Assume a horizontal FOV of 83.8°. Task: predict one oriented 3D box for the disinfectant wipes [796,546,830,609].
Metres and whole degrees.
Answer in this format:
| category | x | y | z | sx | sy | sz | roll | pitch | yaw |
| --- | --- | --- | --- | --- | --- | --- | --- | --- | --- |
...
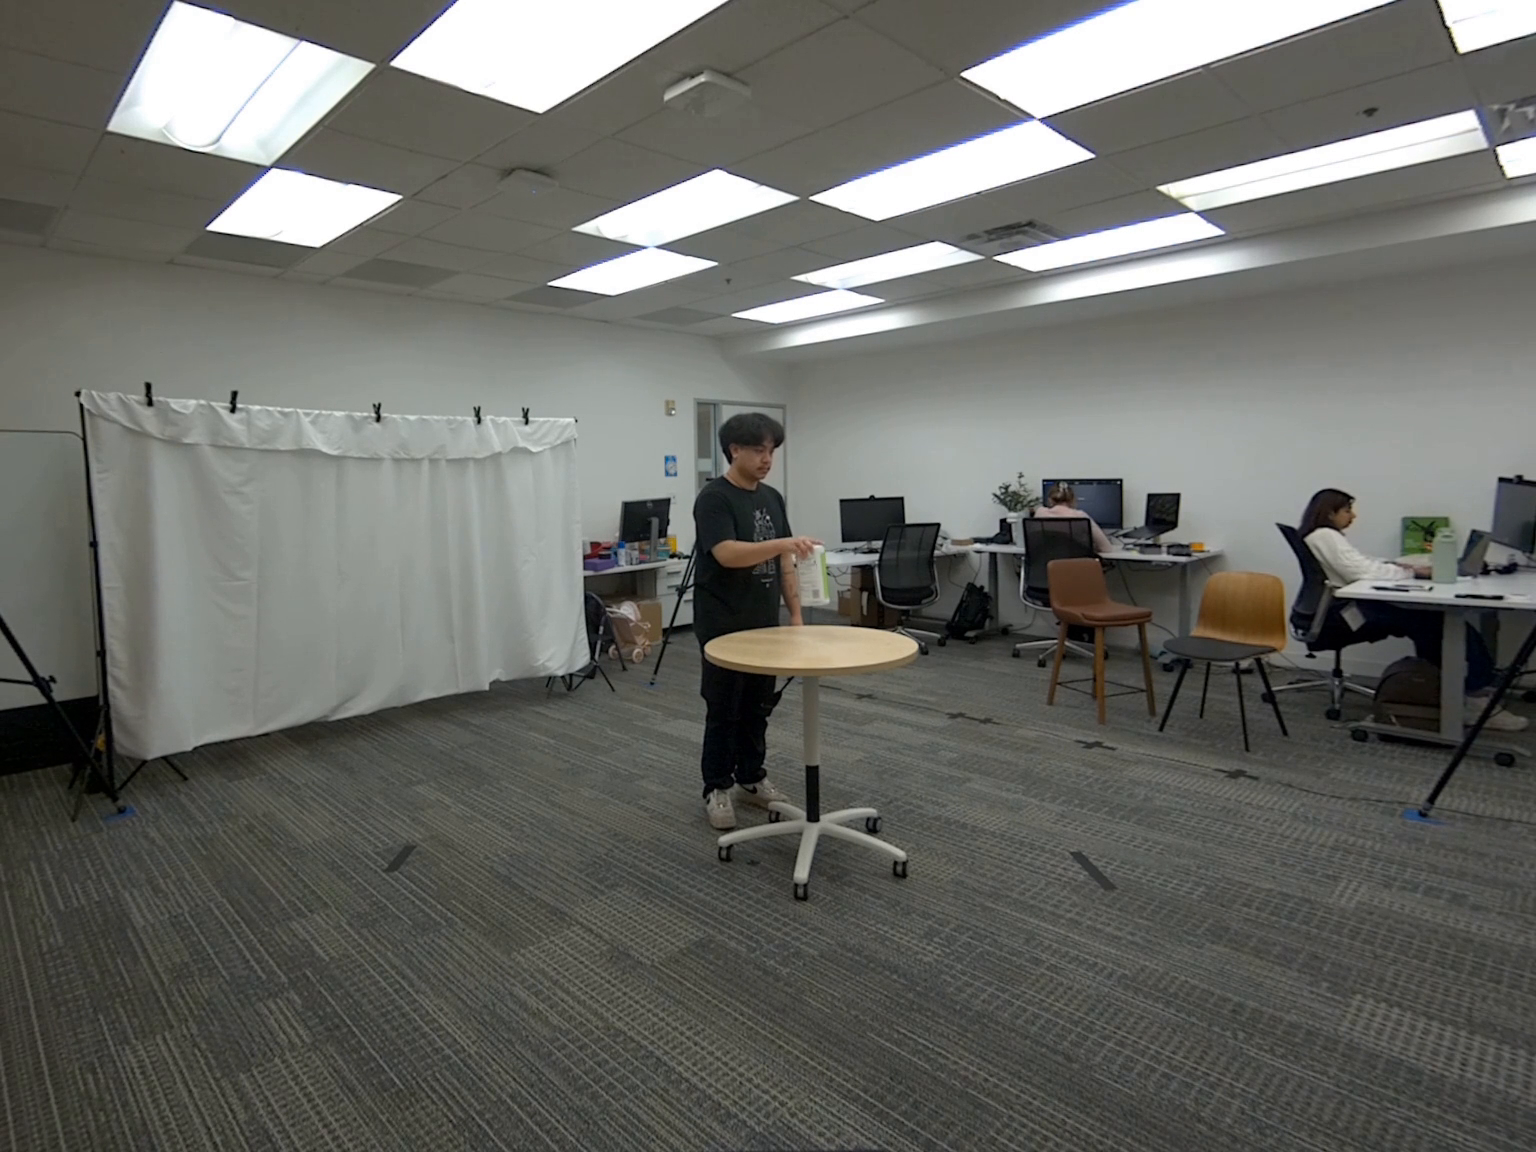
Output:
| category | x | y | z | sx | sy | sz | roll | pitch | yaw |
| --- | --- | --- | --- | --- | --- | --- | --- | --- | --- |
| disinfectant wipes | 0.164 | 0.003 | 3.123 | 0.118 | 0.217 | 0.118 | -4 | 2 | -1 |
